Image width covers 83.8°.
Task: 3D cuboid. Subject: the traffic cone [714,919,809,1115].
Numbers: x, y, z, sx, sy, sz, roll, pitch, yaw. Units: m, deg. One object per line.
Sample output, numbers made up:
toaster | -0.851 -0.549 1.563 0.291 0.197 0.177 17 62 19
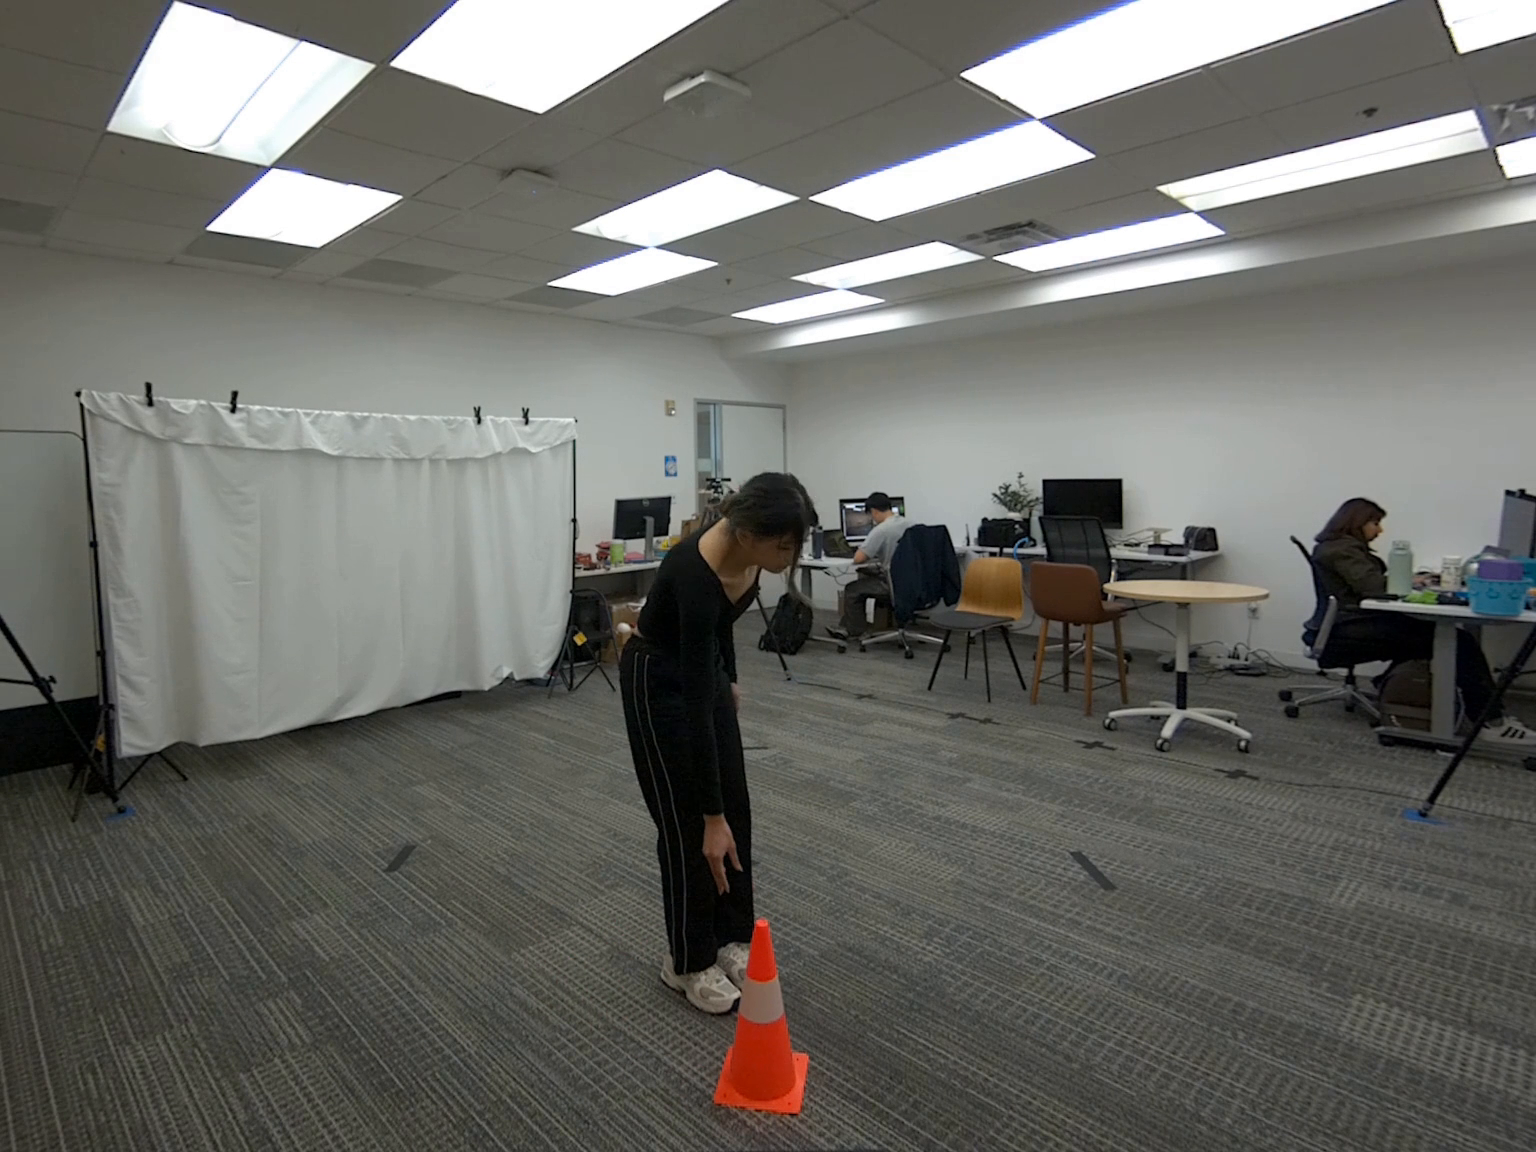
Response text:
traffic cone | -0.011 0.992 1.978 0.205 0.382 0.204 -2 5 8
